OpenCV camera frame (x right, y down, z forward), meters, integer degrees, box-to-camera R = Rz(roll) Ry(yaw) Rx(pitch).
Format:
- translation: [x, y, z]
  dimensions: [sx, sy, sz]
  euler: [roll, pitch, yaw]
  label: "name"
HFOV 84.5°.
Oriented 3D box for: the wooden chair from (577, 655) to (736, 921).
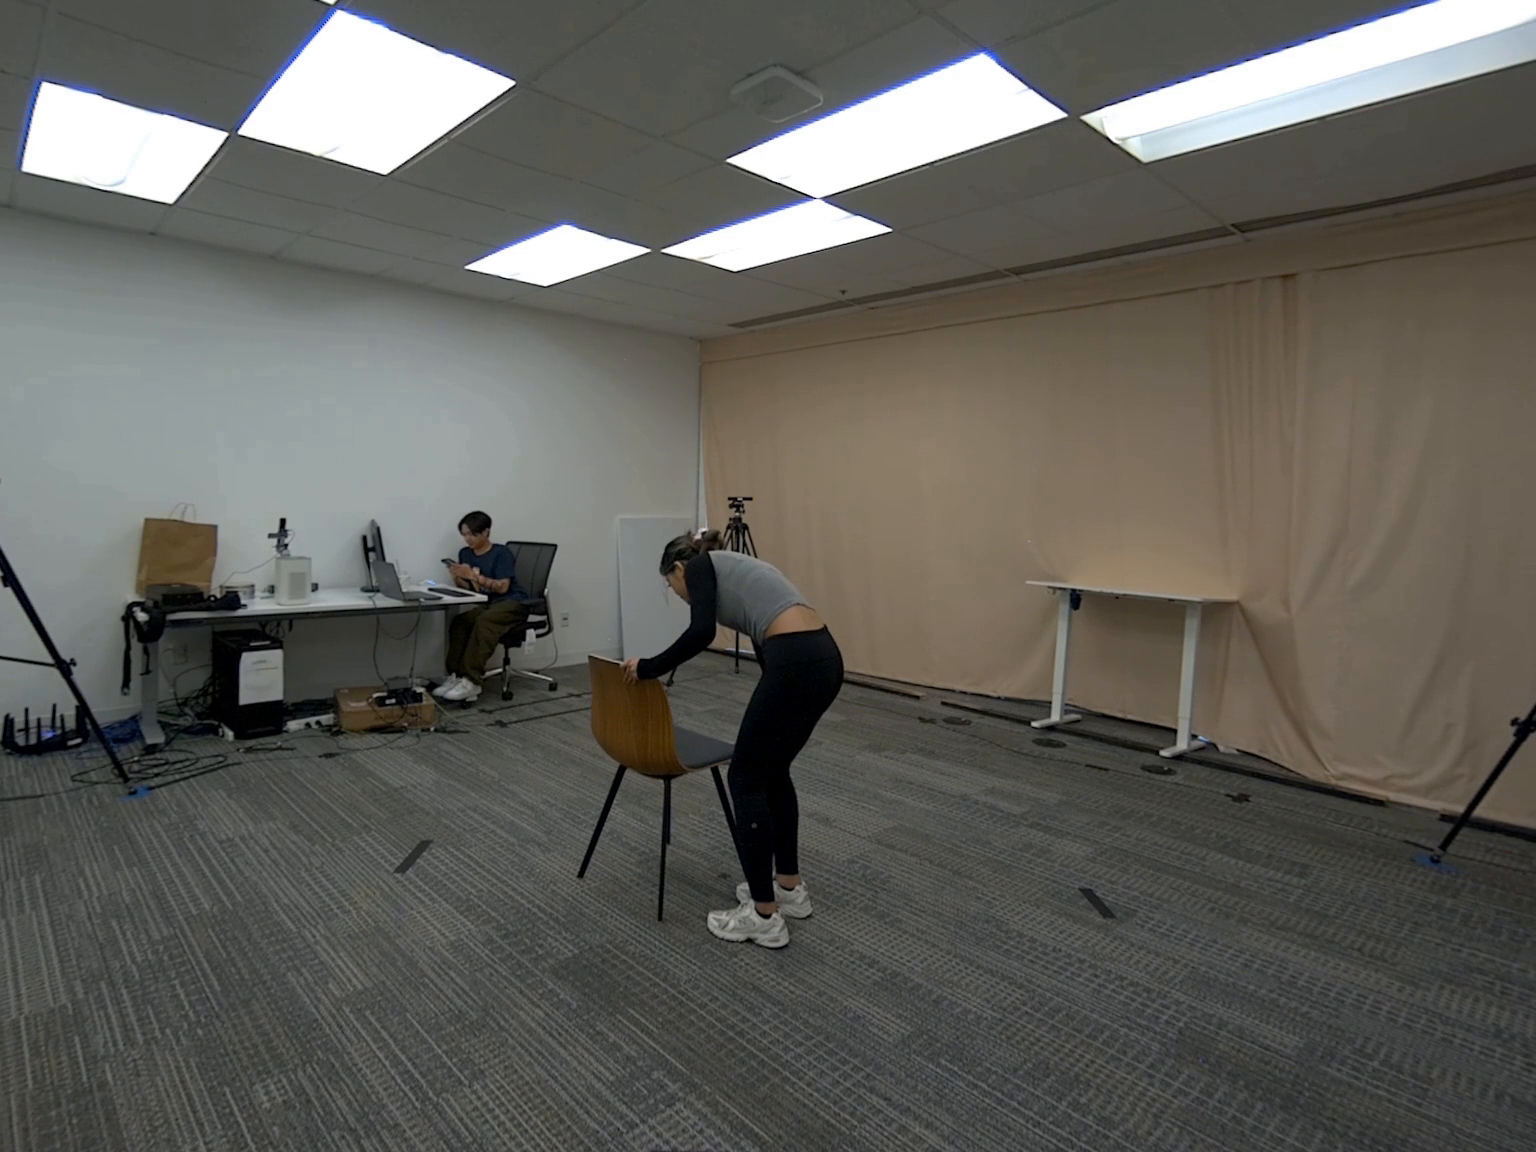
- translation: [-0.374, 0.679, 3.054]
  dimensions: [0.490, 0.873, 0.513]
  euler: [4, 9, 41]
  label: "wooden chair"
